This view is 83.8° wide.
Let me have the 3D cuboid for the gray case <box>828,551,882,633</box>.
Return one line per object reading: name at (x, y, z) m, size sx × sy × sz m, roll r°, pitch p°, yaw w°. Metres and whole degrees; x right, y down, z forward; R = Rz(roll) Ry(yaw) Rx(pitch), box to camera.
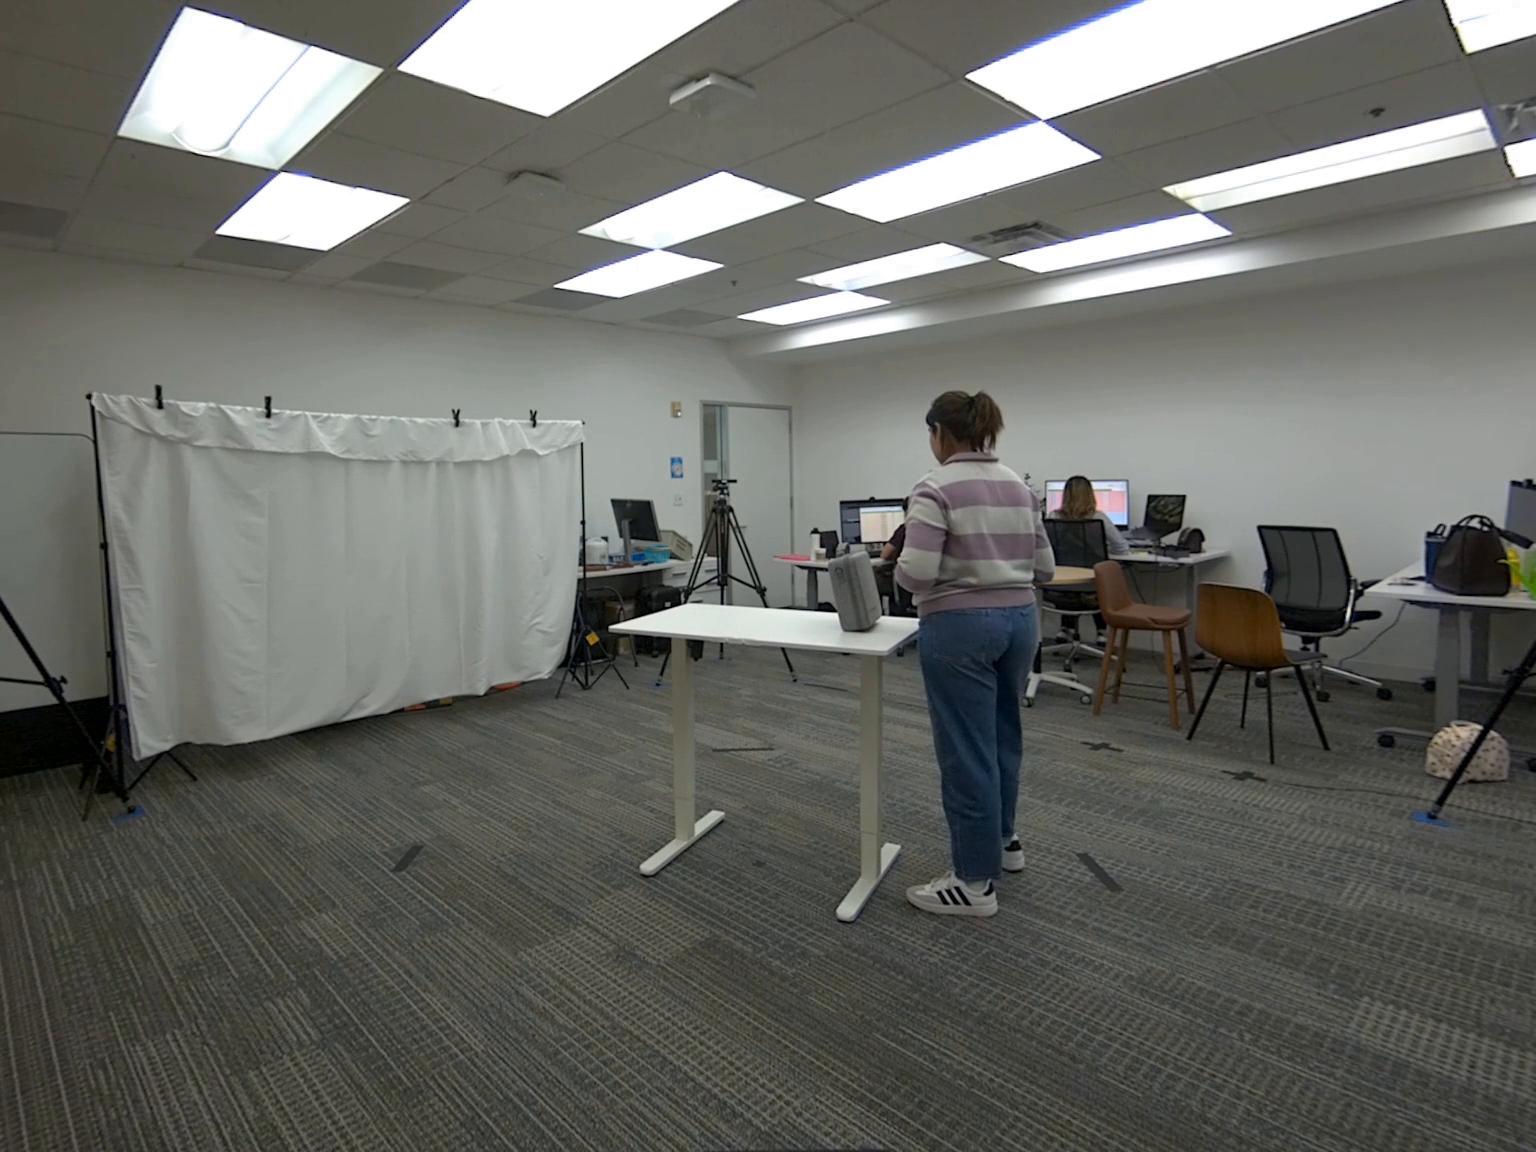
gray case at (0.308, 0.047, 2.959) m, size 0.106 × 0.261 × 0.253 m, roll -11°, pitch 1°, yaw 17°
